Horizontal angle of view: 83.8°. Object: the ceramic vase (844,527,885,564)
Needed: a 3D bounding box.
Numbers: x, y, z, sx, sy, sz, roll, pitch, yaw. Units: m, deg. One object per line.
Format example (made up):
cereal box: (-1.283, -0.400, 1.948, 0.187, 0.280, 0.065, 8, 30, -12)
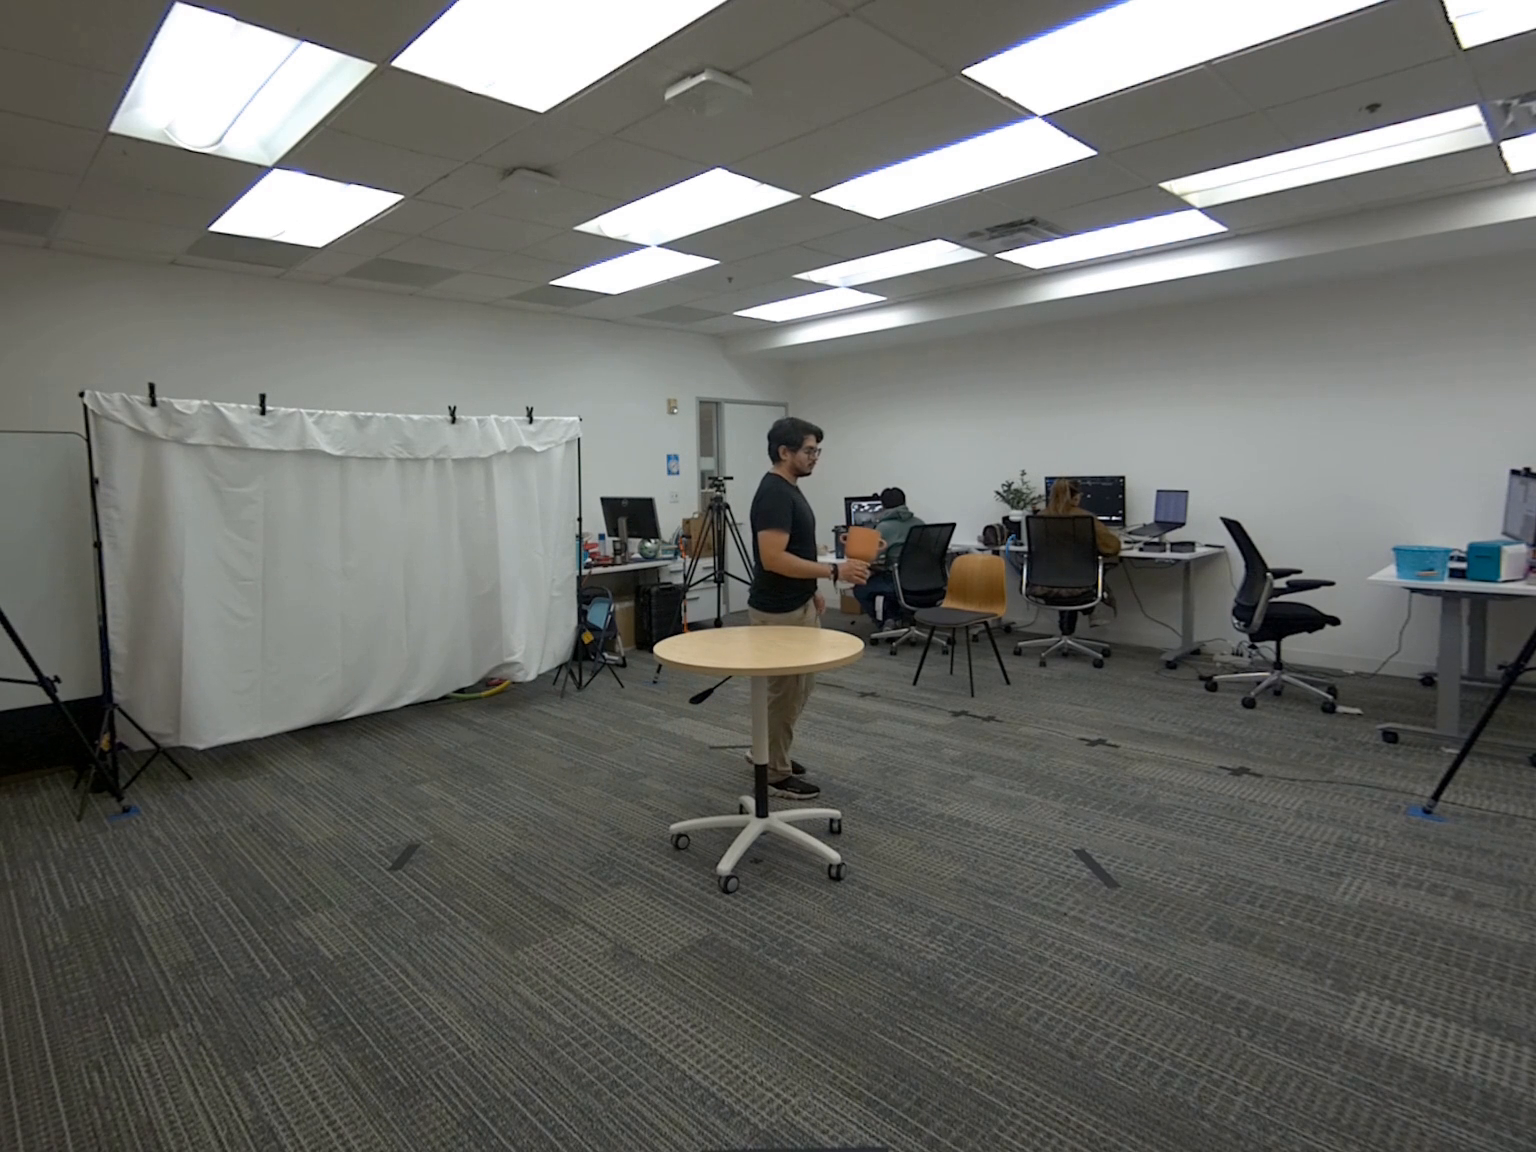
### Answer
ceramic vase: (0.377, -0.083, 3.517, 0.131, 0.221, 0.163, 16, -7, -29)
